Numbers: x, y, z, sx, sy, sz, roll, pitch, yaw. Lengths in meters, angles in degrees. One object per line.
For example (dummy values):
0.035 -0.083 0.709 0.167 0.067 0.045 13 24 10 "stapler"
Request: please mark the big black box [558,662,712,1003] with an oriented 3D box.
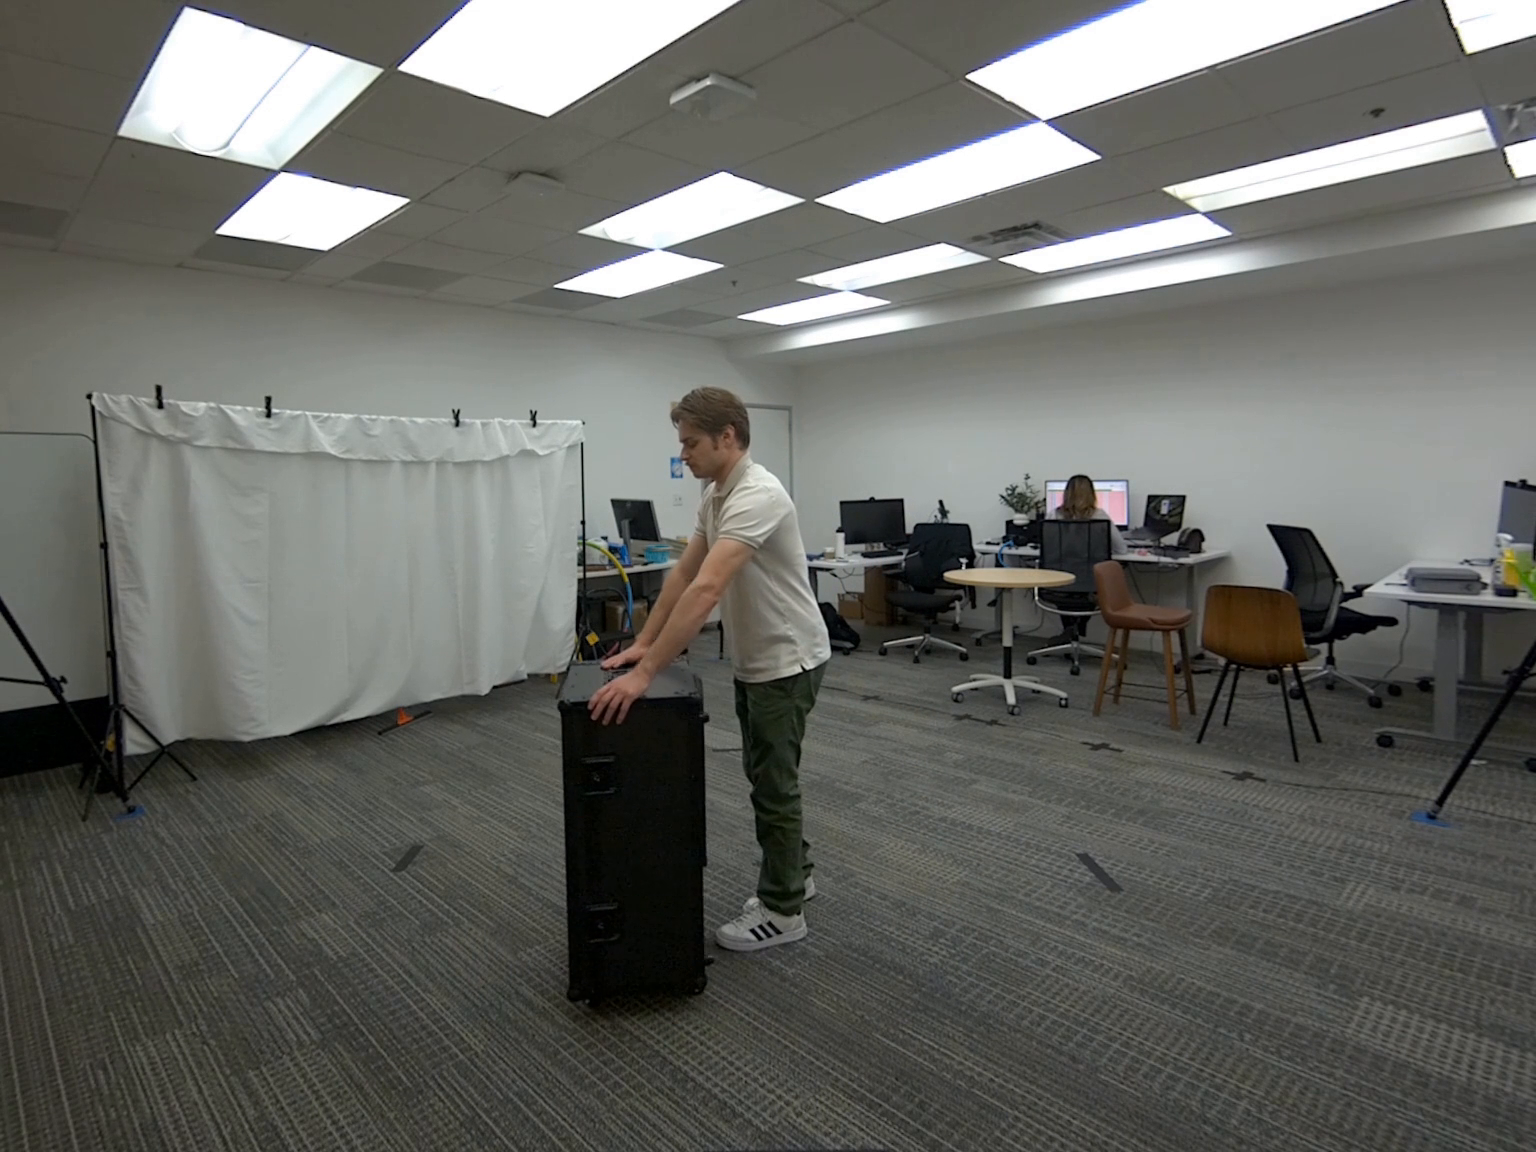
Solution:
-0.378 0.710 2.430 0.382 0.865 0.530 -2 5 -10 "big black box"
